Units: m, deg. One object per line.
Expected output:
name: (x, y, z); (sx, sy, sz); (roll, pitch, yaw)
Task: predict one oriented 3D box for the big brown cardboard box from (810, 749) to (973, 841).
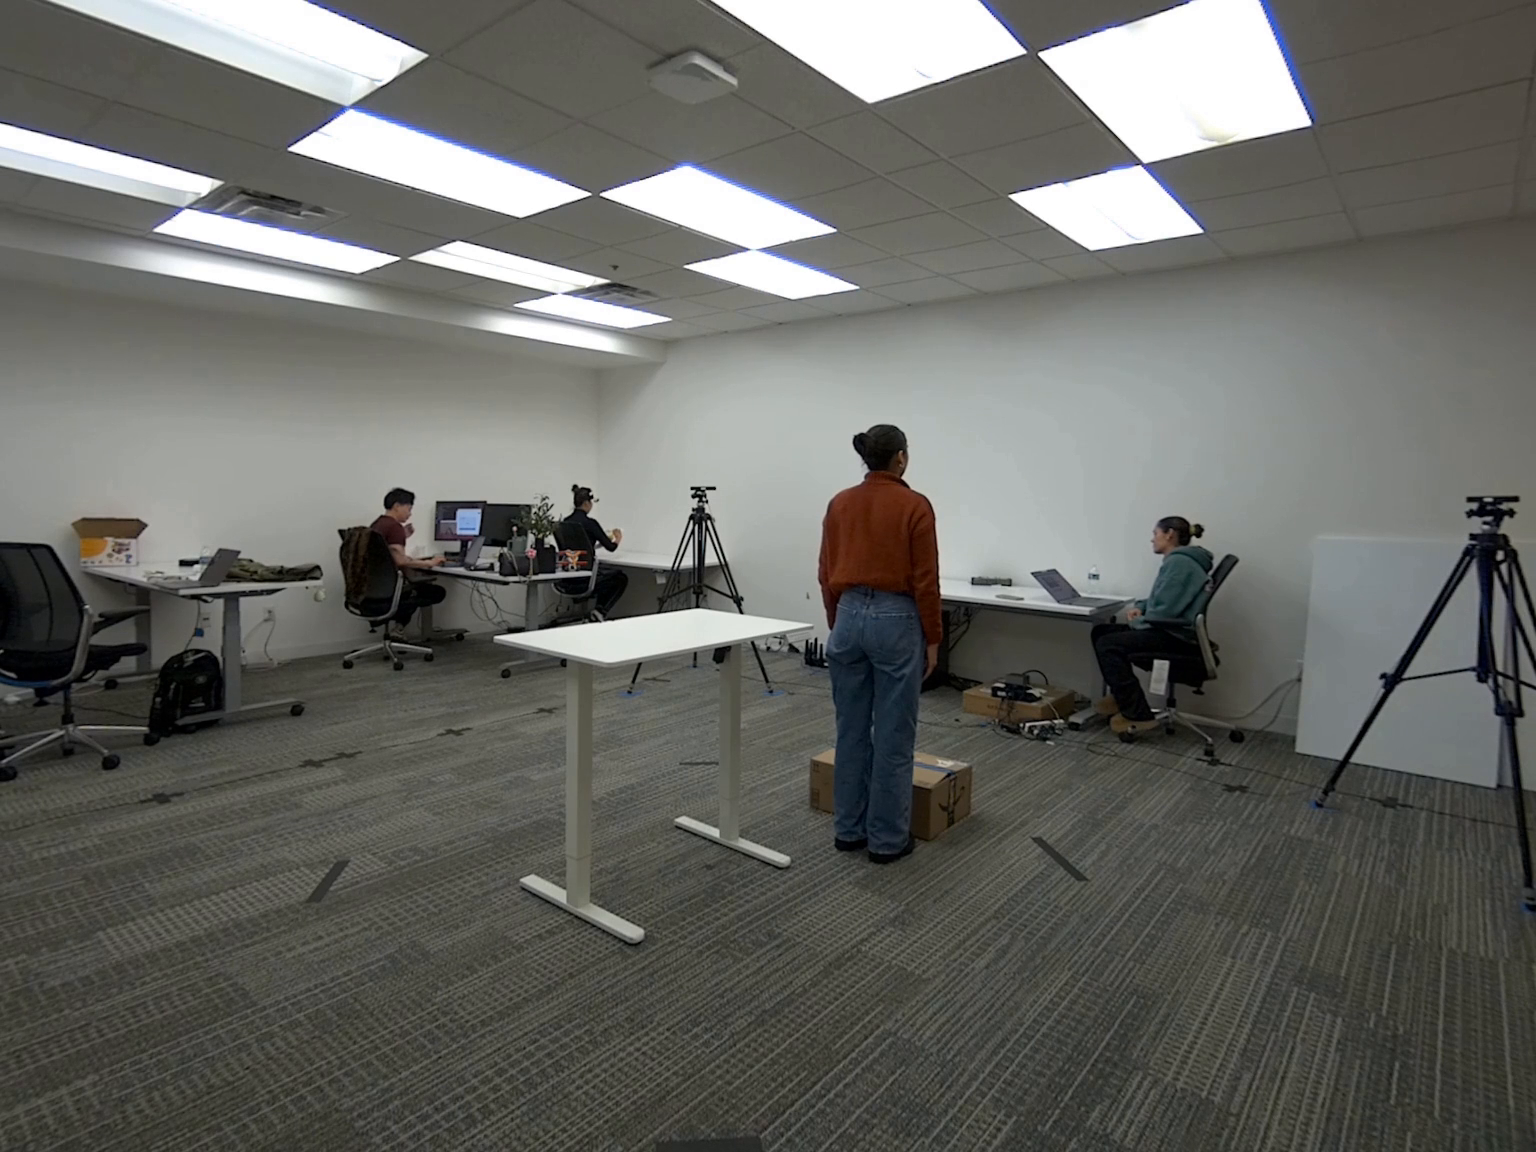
big brown cardboard box: (0.529, 0.906, 3.708); (0.608, 0.232, 0.406); (4, 6, 36)
